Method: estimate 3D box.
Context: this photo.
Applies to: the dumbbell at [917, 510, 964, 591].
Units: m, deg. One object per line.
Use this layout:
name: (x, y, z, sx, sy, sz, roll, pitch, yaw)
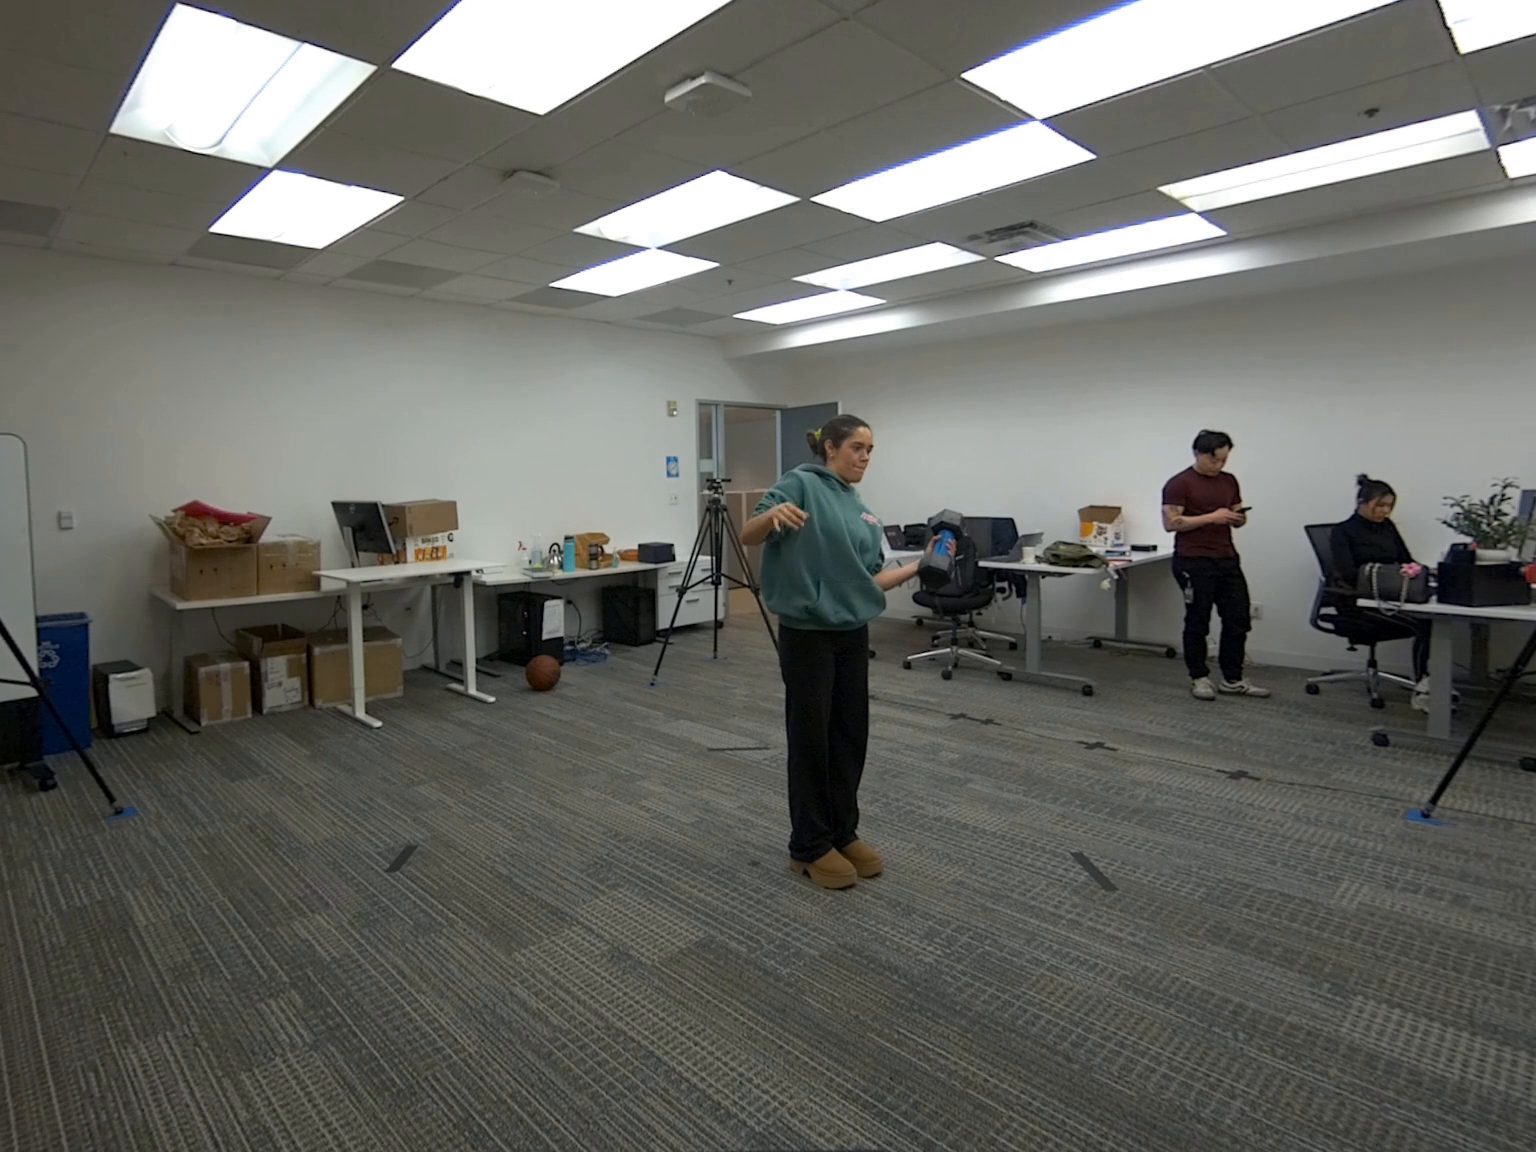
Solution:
dumbbell: (0.599, -0.101, 2.971, 0.125, 0.297, 0.106, 17, -38, 10)
